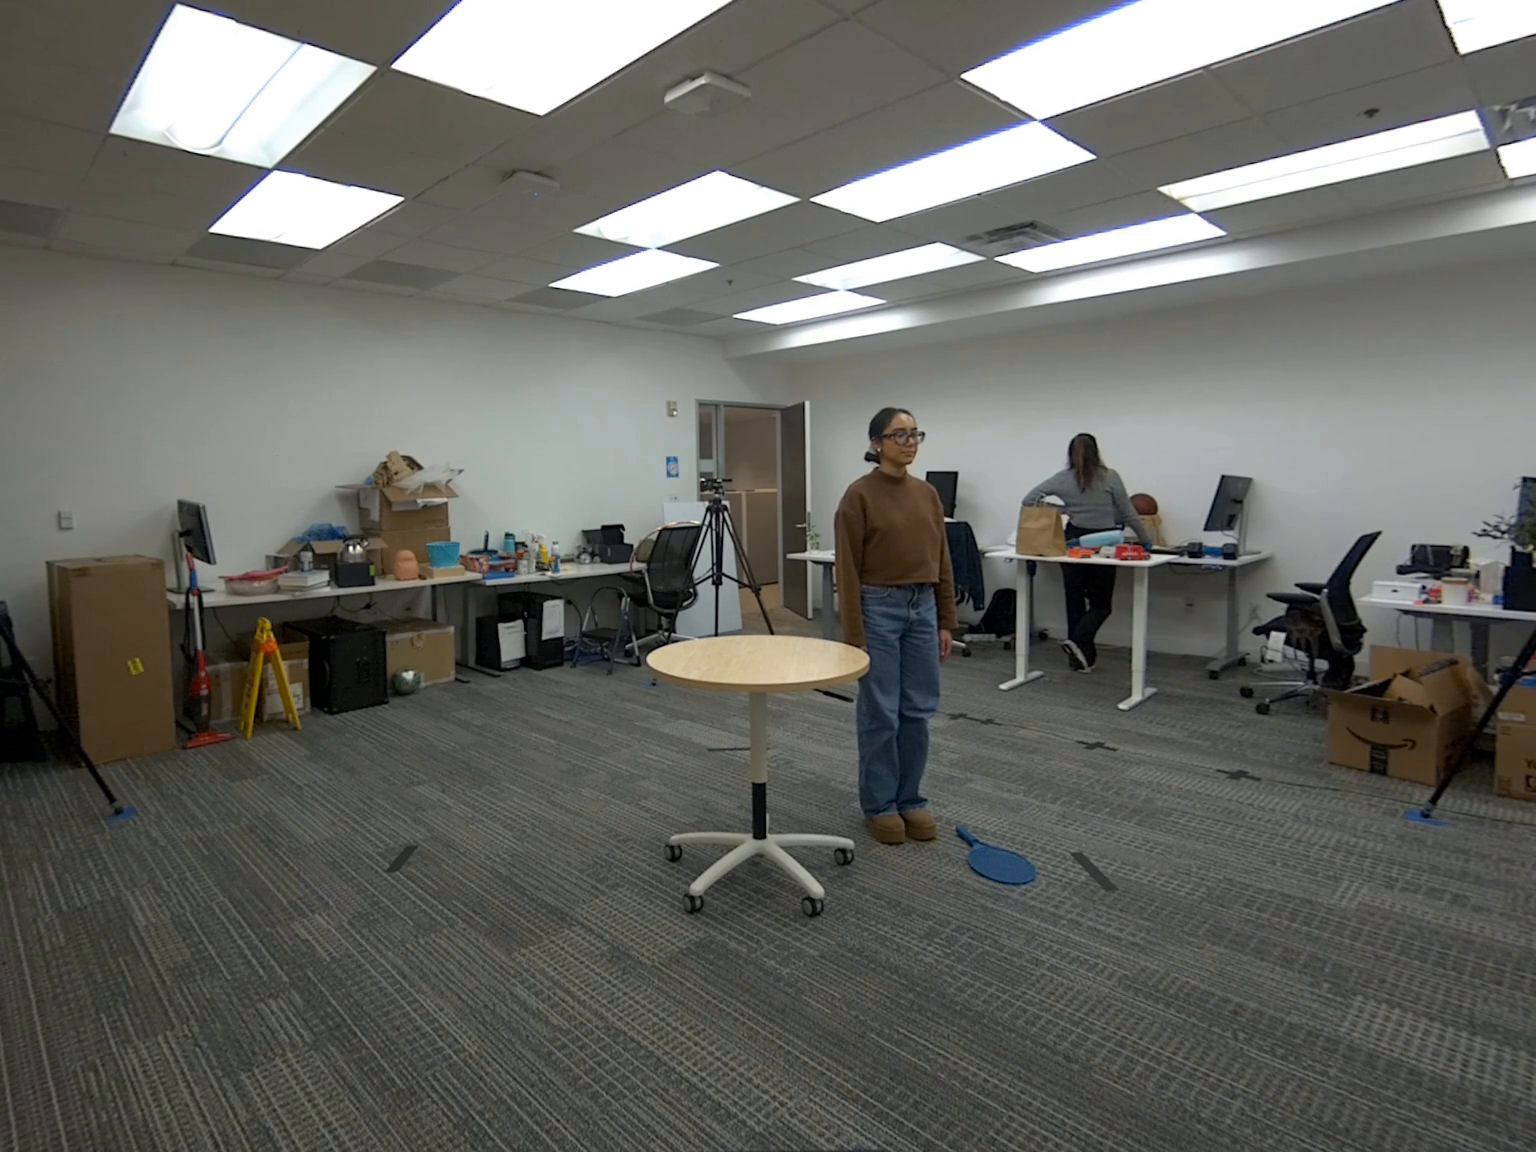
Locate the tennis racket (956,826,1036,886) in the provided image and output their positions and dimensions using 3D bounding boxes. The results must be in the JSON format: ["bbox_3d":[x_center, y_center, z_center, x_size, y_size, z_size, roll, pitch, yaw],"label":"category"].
[{"bbox_3d":[0.799,1.012,3.112,0.210,0.031,0.442,-3,8,-17],"label":"tennis racket"}]
